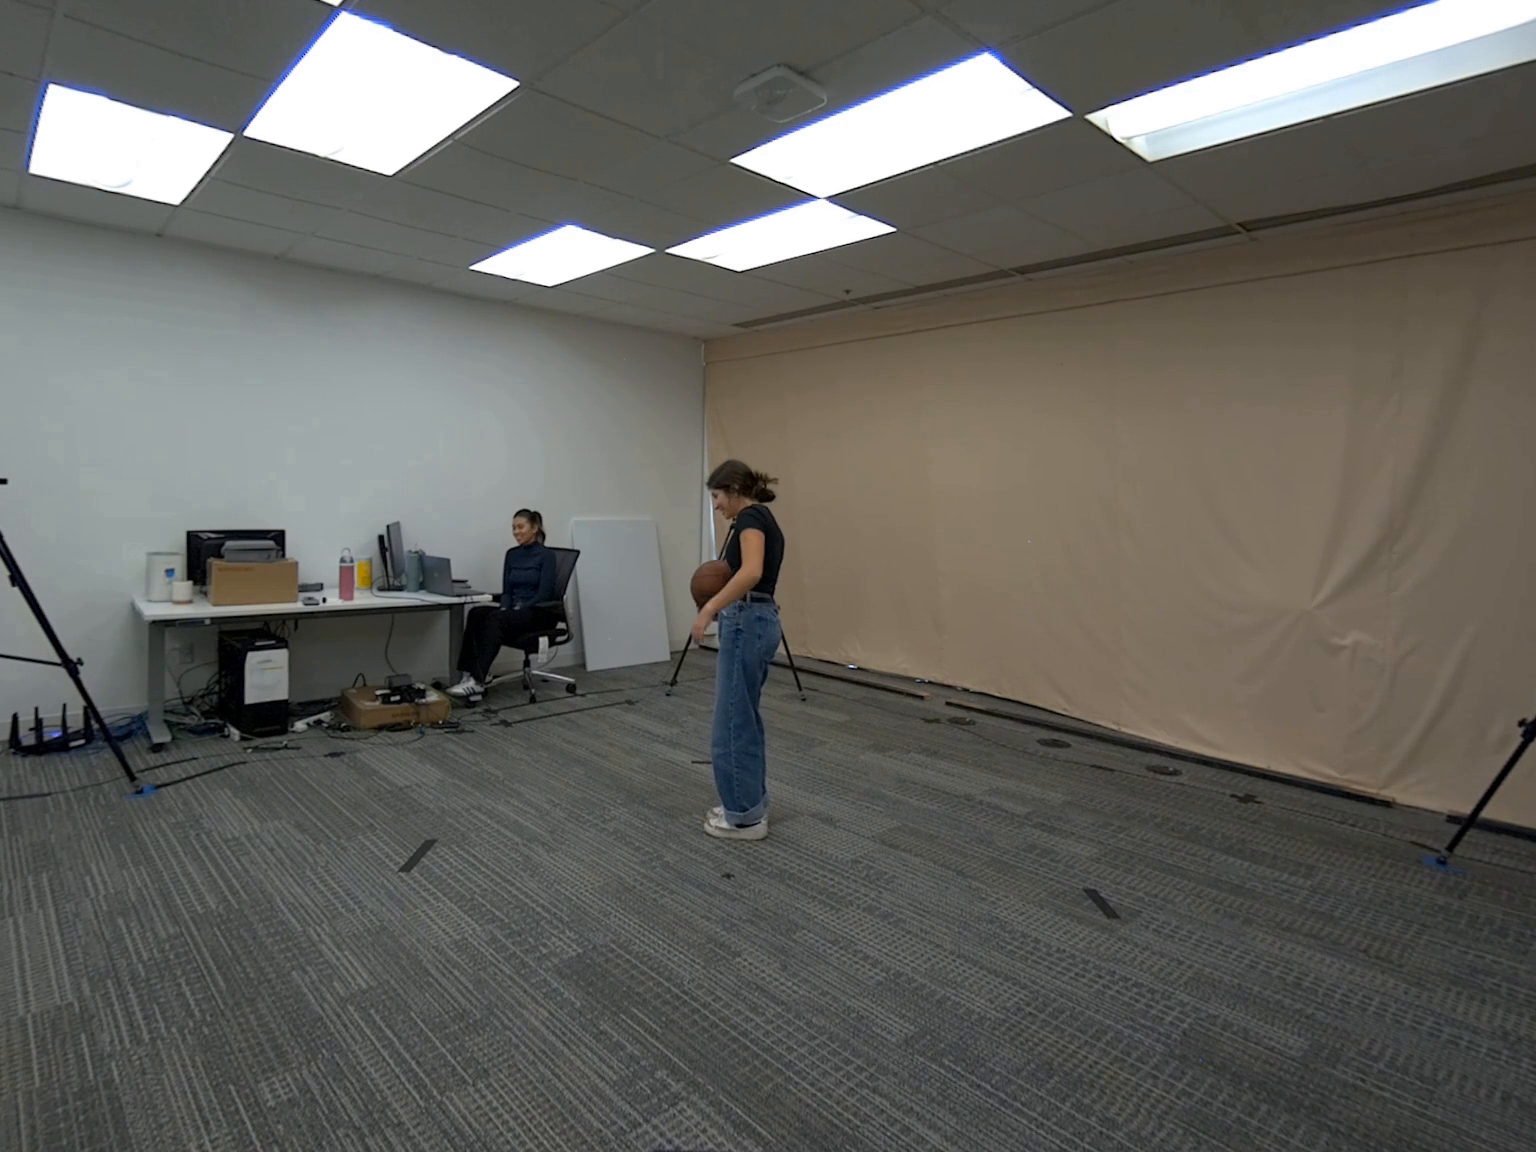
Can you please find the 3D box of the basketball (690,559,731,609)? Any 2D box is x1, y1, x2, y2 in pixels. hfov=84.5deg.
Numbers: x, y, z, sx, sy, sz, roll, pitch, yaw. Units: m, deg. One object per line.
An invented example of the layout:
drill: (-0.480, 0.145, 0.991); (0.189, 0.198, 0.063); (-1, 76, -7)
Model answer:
basketball: (-0.232, 0.044, 3.749); (0.236, 0.235, 0.237); (1, 4, -1)
